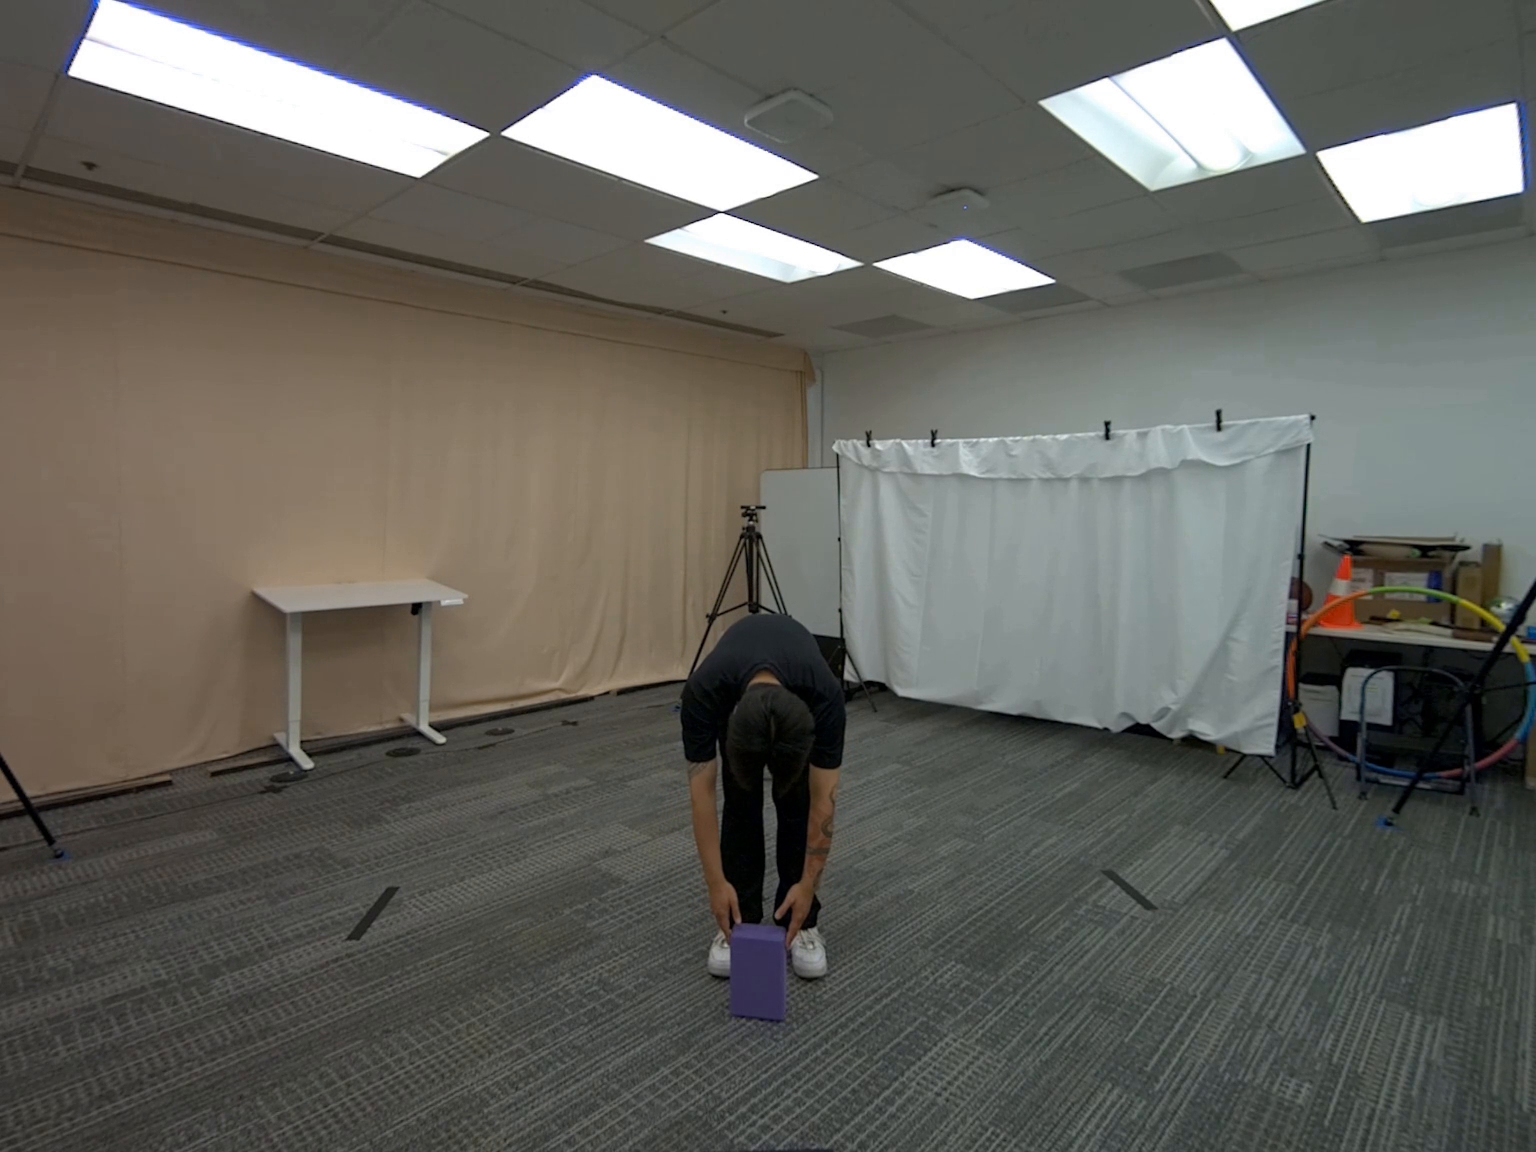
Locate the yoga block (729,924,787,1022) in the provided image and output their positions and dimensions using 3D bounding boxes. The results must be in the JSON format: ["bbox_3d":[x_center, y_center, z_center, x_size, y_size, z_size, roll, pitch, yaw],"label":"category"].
[{"bbox_3d":[-0.027,1.079,2.312,0.150,0.229,0.076,-1,3,8],"label":"yoga block"}]
